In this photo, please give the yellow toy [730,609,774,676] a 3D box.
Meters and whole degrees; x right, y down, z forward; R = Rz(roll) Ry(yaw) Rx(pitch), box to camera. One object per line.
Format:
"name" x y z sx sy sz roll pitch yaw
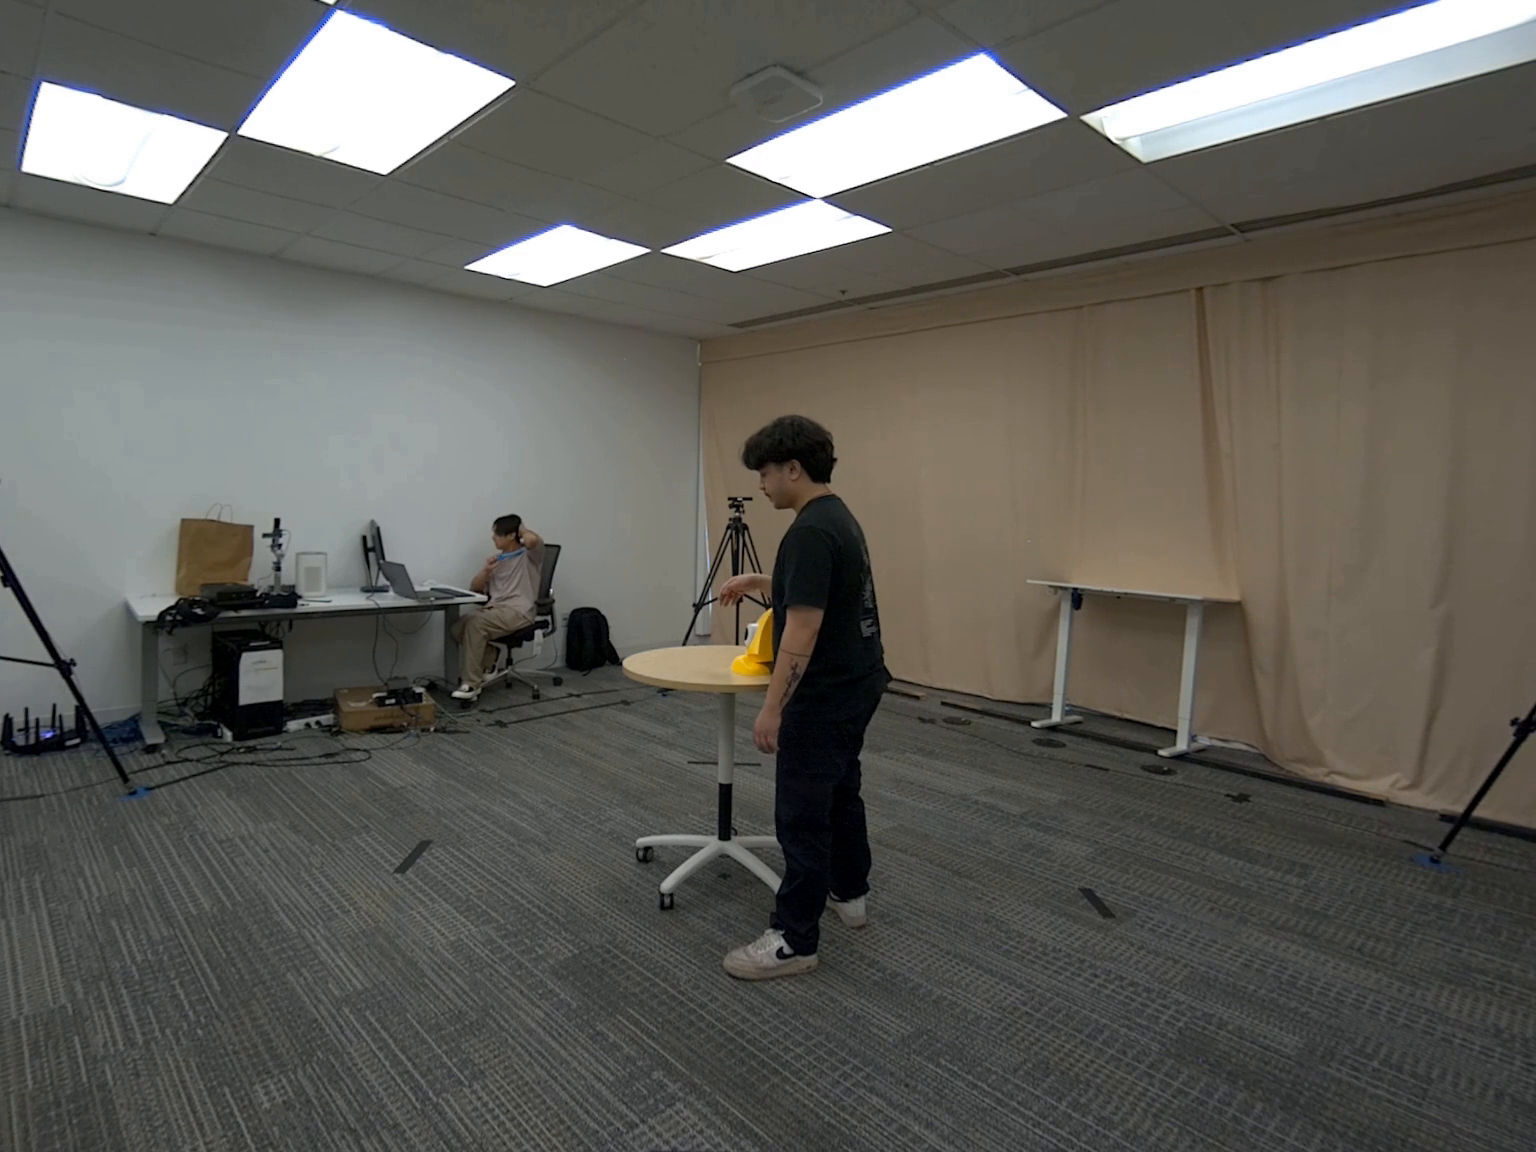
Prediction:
"yellow toy" -0.025 0.215 2.928 0.200 0.230 0.198 -2 5 -41
